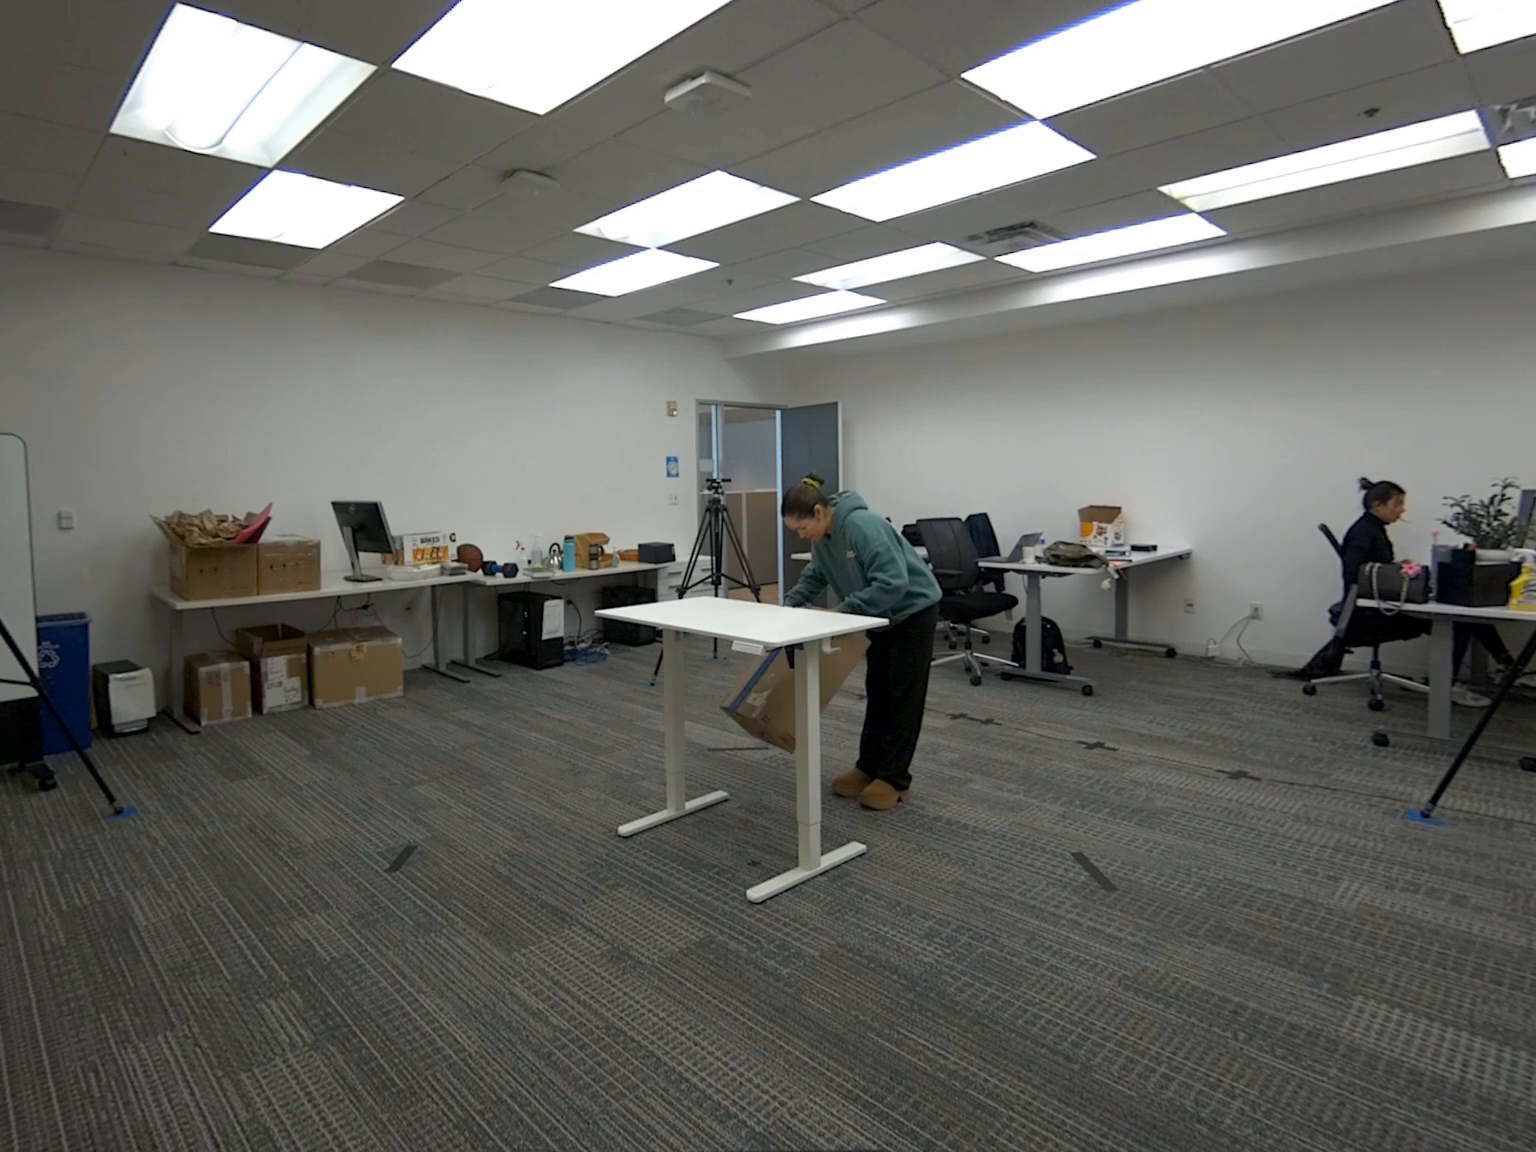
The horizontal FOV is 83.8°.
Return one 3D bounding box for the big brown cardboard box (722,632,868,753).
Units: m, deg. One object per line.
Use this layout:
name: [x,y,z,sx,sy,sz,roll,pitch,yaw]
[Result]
big brown cardboard box: [0.100,0.424,3.613,0.229,0.589,0.425,44,-18,-16]
